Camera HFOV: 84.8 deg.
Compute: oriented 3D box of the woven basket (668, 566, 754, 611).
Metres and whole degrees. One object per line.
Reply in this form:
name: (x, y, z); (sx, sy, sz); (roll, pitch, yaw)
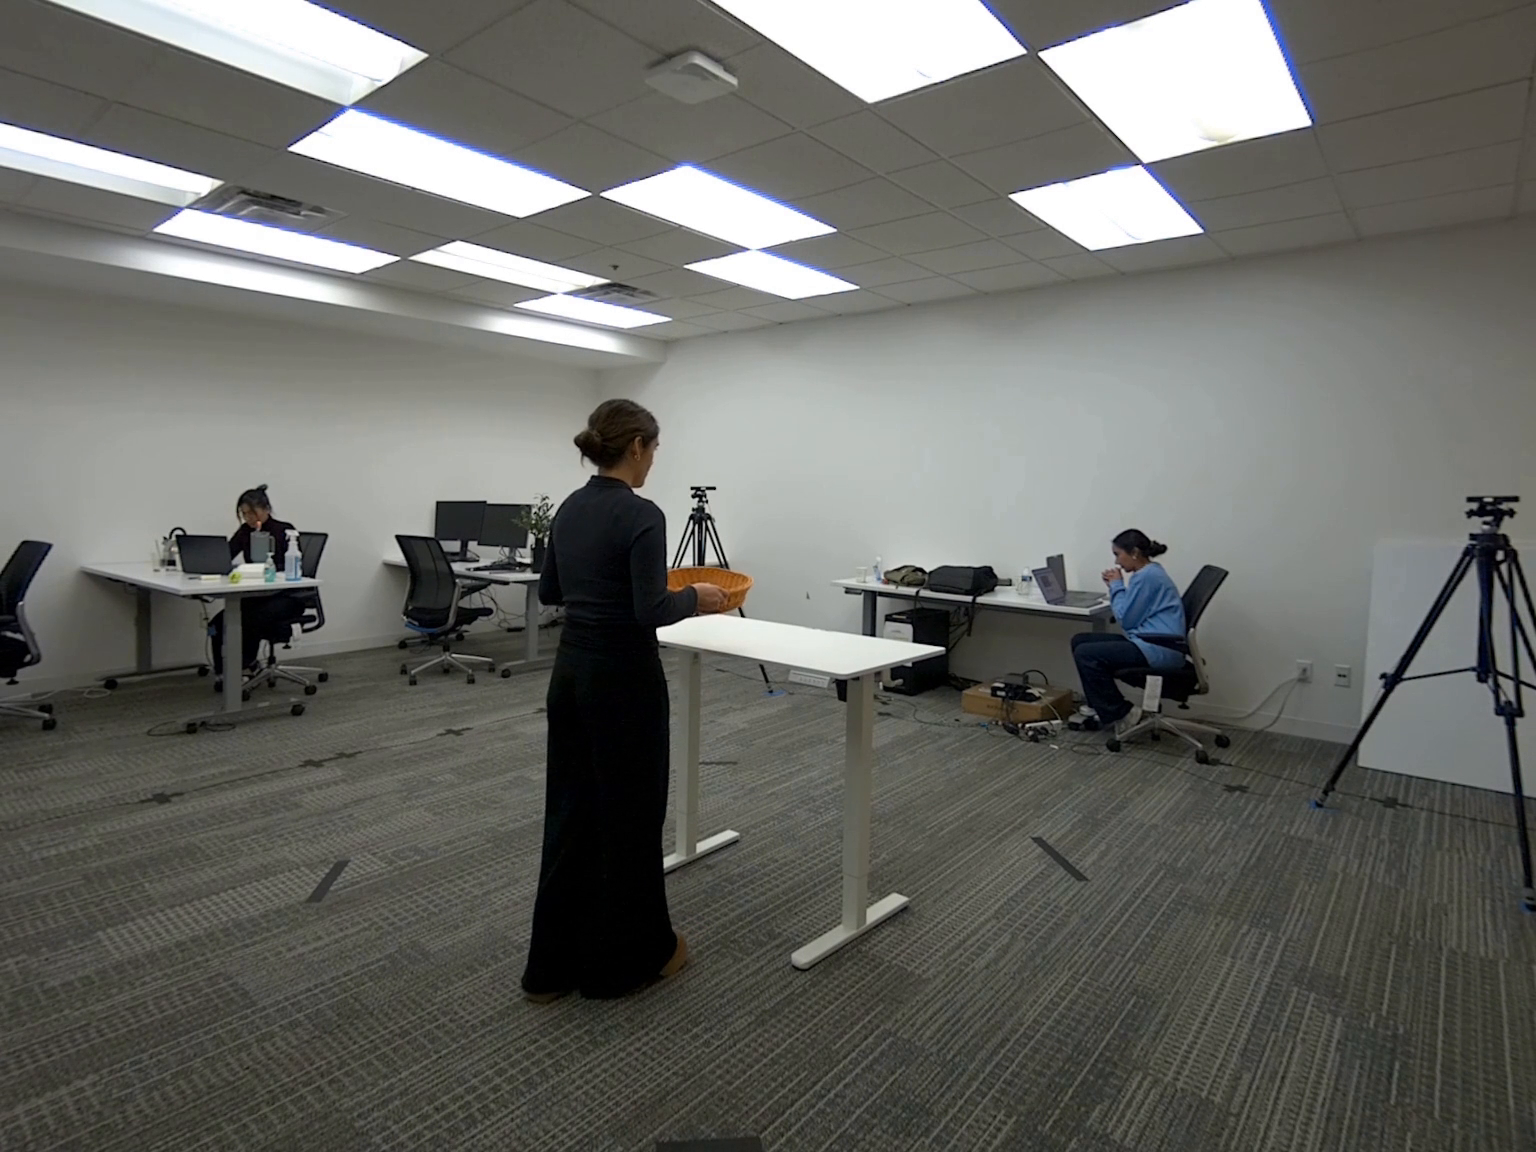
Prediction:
woven basket: (-0.223, 0.048, 2.570); (0.246, 0.072, 0.363); (-12, 16, -35)
